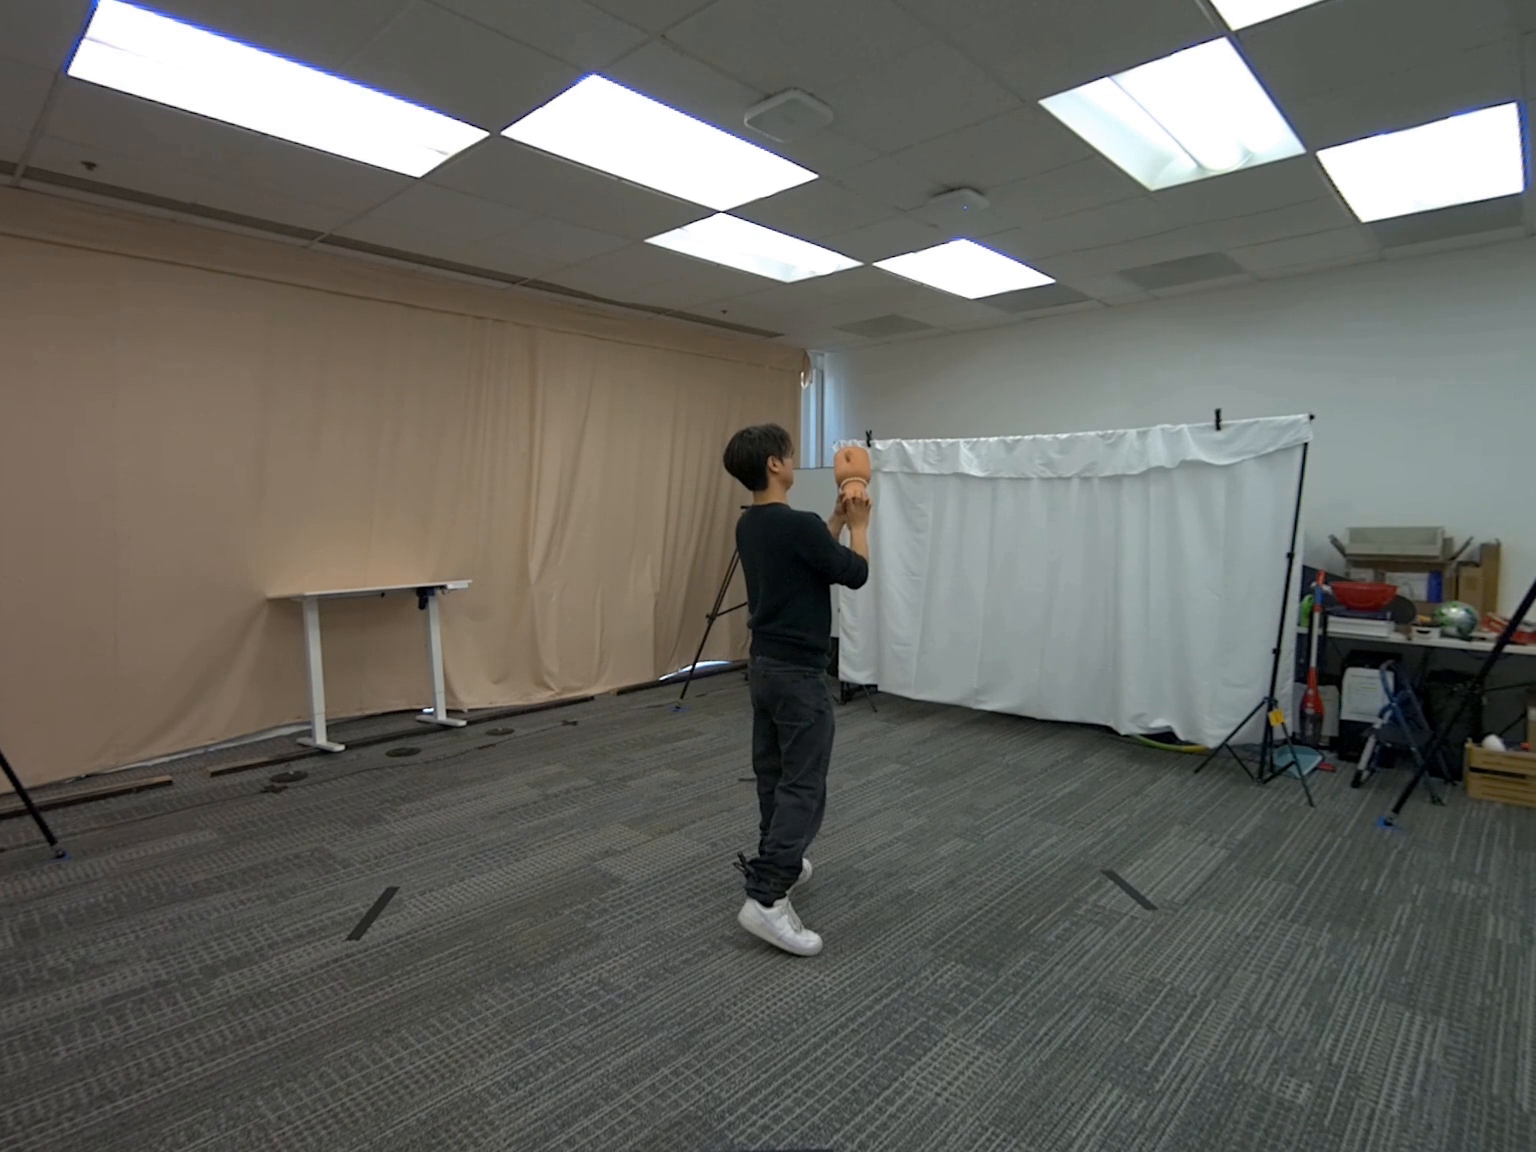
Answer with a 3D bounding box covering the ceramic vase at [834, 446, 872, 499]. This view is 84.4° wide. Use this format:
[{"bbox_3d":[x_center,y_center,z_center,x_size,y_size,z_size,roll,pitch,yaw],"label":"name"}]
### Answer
[{"bbox_3d":[0.318,-0.358,3.129,0.154,0.223,0.136,17,-36,-27],"label":"ceramic vase"}]
